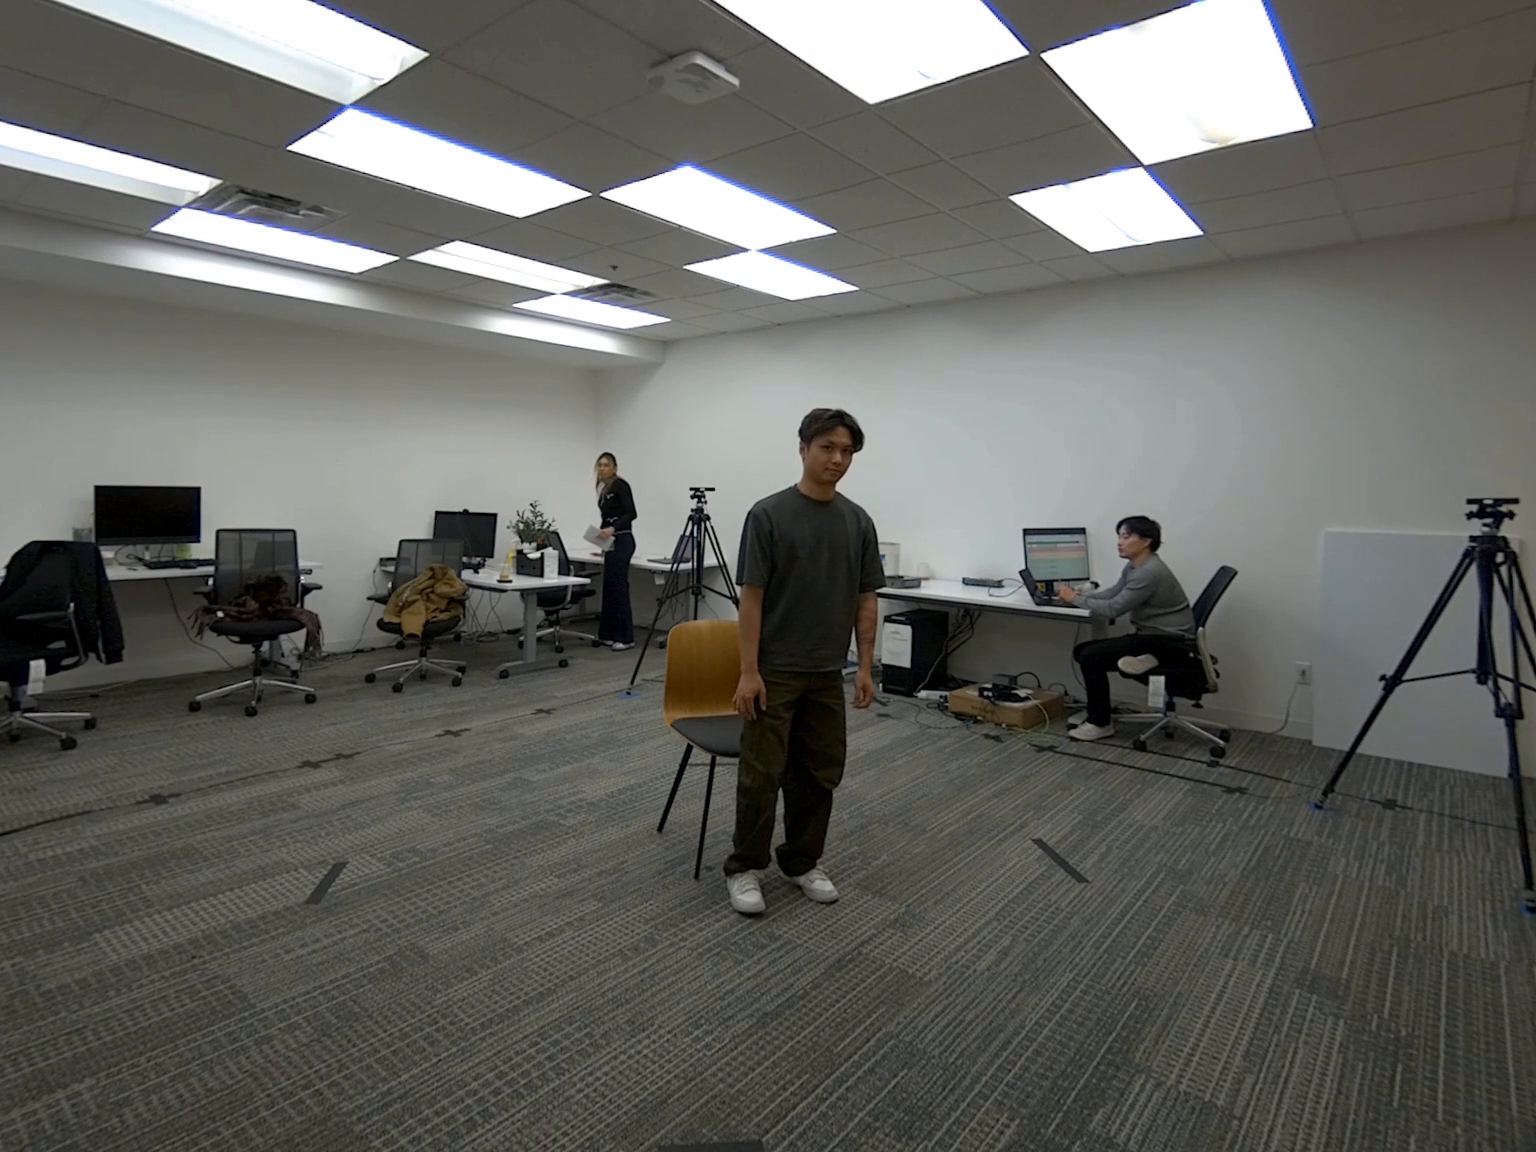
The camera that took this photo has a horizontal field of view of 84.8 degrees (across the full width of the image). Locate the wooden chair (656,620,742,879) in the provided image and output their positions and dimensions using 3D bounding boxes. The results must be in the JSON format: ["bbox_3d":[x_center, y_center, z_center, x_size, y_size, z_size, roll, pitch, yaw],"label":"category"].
[{"bbox_3d":[-0.150,0.624,3.278,0.467,0.878,0.535,0,0,-23],"label":"wooden chair"}]
